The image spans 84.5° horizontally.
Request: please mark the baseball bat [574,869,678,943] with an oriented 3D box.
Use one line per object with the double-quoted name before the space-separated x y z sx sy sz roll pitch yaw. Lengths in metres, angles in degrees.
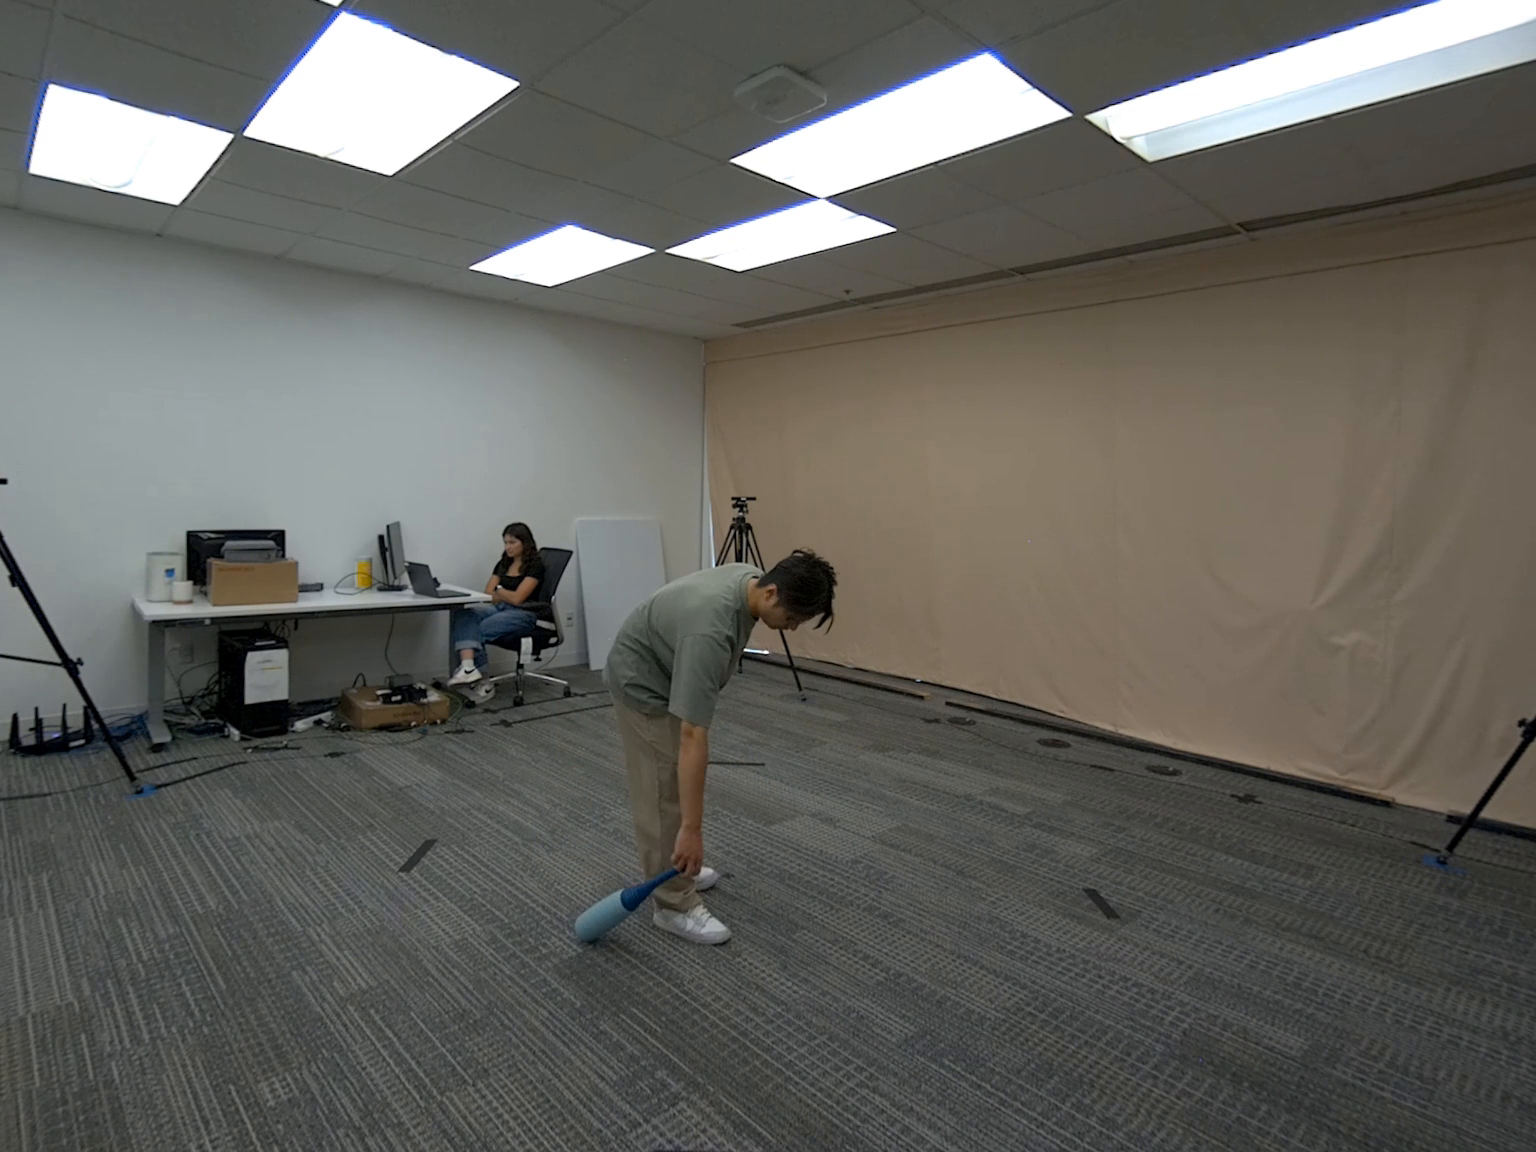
"baseball bat" -0.411 0.965 2.506 0.087 0.091 0.544 -3 -30 -50
